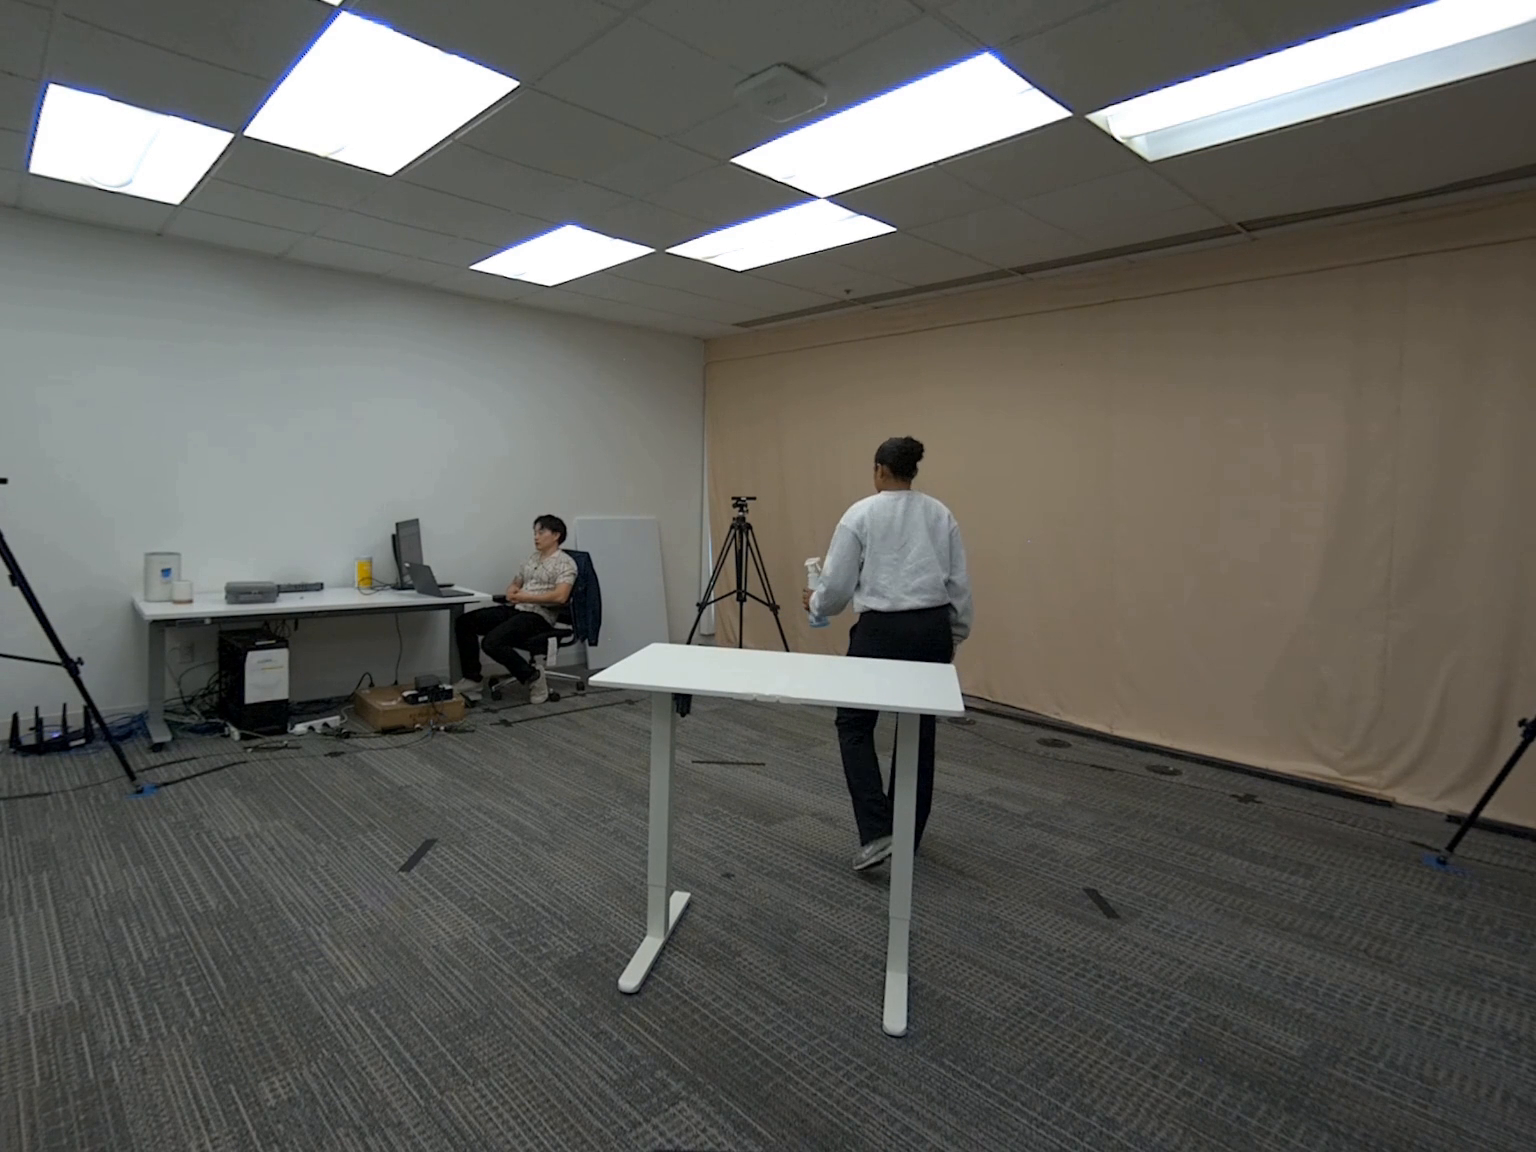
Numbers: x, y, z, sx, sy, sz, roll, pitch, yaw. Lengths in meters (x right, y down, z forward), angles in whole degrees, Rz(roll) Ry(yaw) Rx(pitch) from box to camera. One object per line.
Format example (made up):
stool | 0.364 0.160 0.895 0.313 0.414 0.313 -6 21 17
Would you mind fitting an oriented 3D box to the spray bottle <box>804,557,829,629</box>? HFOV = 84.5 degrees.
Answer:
spray bottle | 0.201 0.078 3.621 0.086 0.296 0.091 -9 6 -15
